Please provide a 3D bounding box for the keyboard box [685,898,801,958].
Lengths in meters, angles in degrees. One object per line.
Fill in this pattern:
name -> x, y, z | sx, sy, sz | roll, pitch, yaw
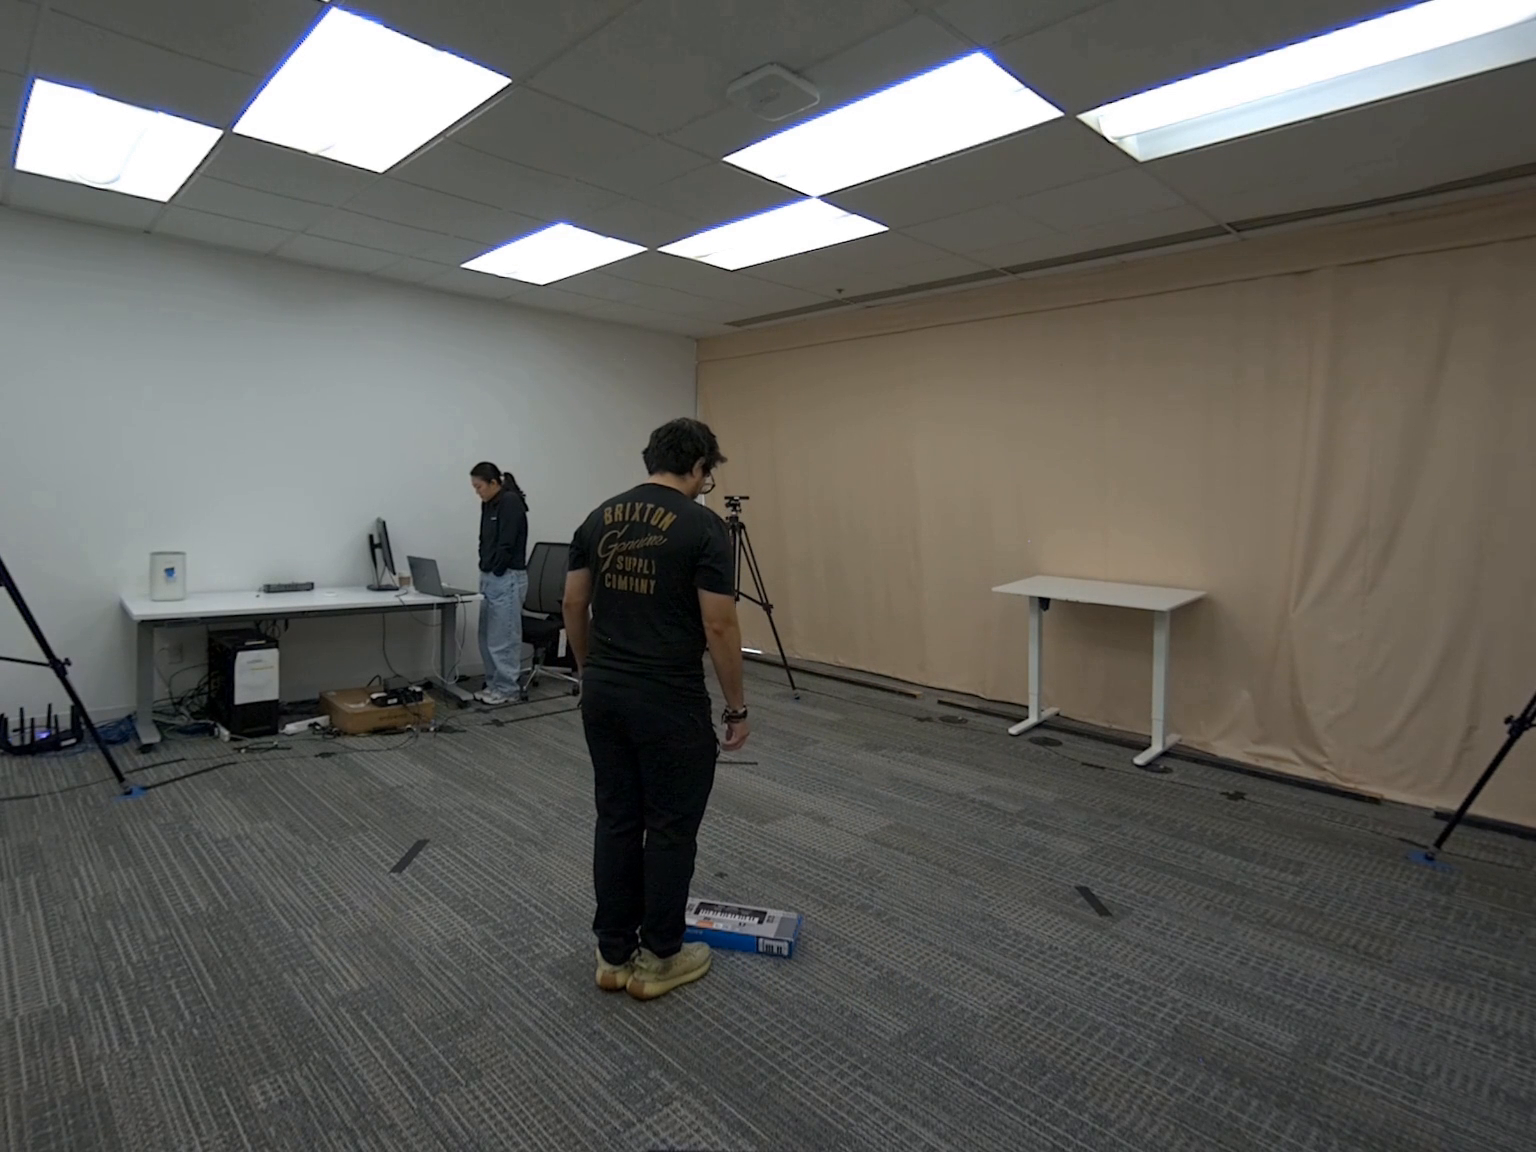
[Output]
keyboard box -> -0.130, 1.116, 2.675 | 0.442, 0.059, 0.174 | 3, 6, 13
